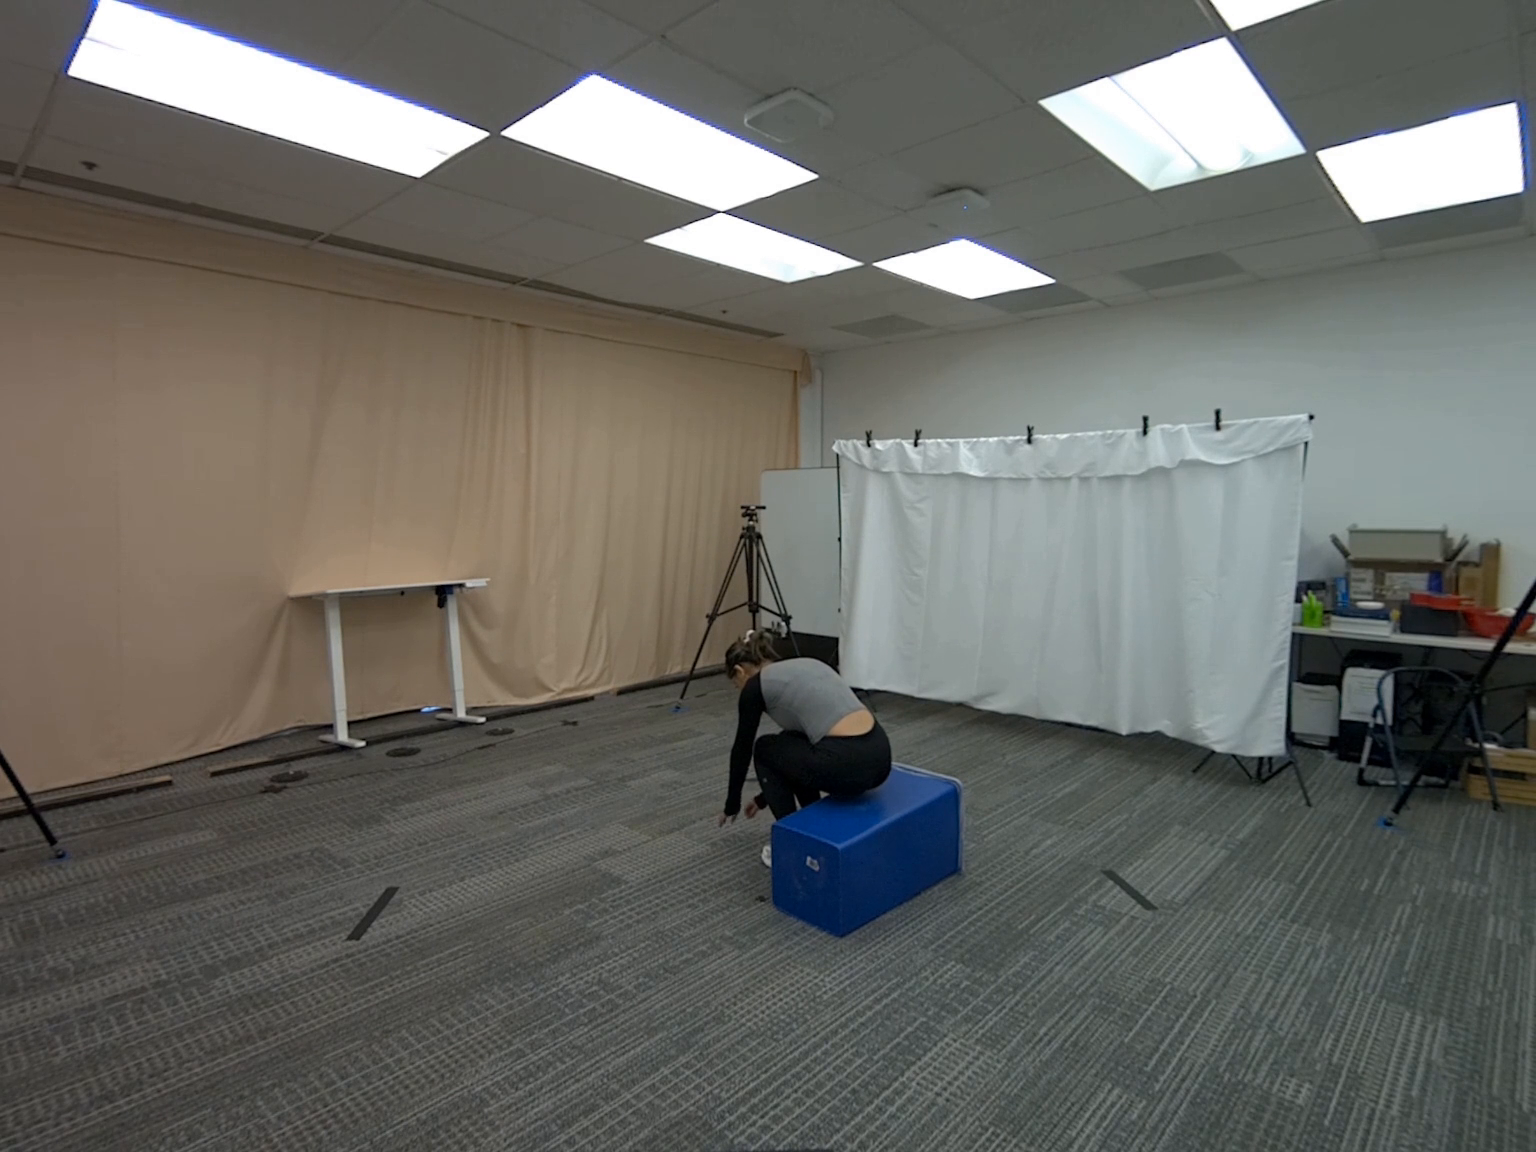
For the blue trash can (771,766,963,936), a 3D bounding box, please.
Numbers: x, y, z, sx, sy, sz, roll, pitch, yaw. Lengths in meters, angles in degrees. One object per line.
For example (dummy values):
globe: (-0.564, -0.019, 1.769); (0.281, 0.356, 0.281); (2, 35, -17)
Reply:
blue trash can: (0.372, 0.961, 3.039); (0.391, 0.373, 0.692); (4, 8, 43)
